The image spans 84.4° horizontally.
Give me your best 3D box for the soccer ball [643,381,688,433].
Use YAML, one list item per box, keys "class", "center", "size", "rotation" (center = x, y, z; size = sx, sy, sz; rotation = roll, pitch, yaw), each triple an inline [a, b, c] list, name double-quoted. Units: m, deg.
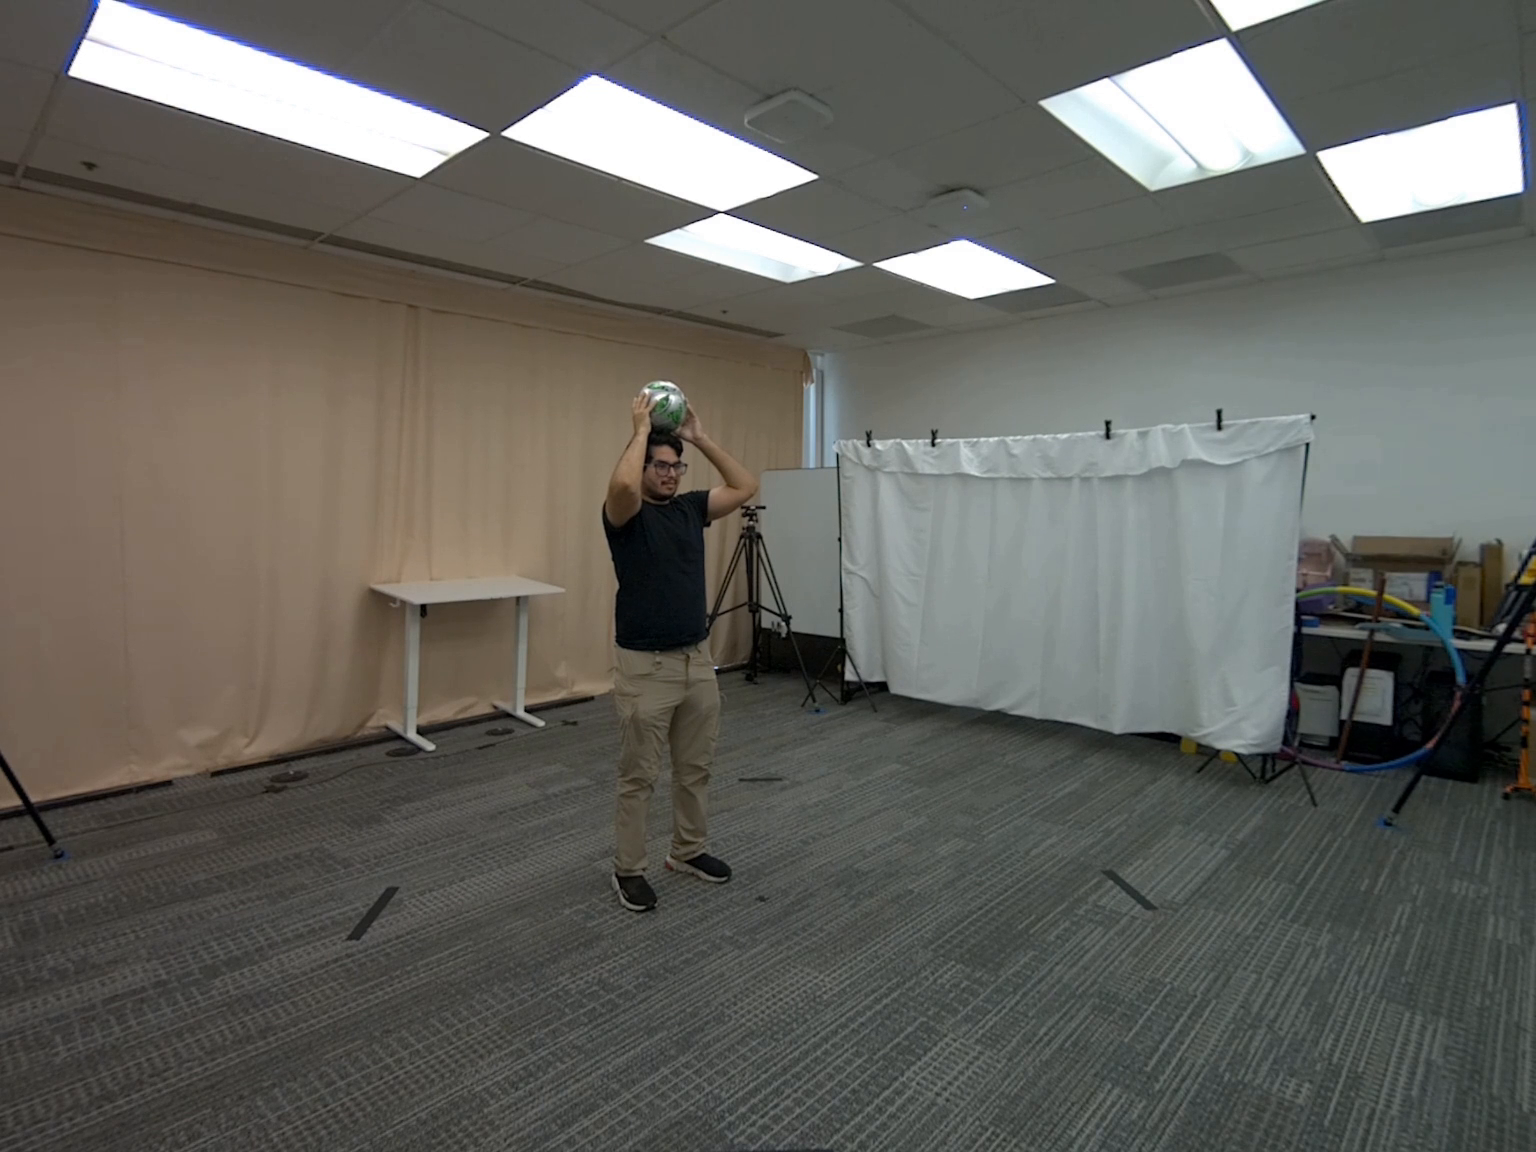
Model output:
- class: "soccer ball"
  center: [-0.377, -0.591, 2.970]
  size: [0.187, 0.187, 0.188]
  rotation: [0, 4, -2]
